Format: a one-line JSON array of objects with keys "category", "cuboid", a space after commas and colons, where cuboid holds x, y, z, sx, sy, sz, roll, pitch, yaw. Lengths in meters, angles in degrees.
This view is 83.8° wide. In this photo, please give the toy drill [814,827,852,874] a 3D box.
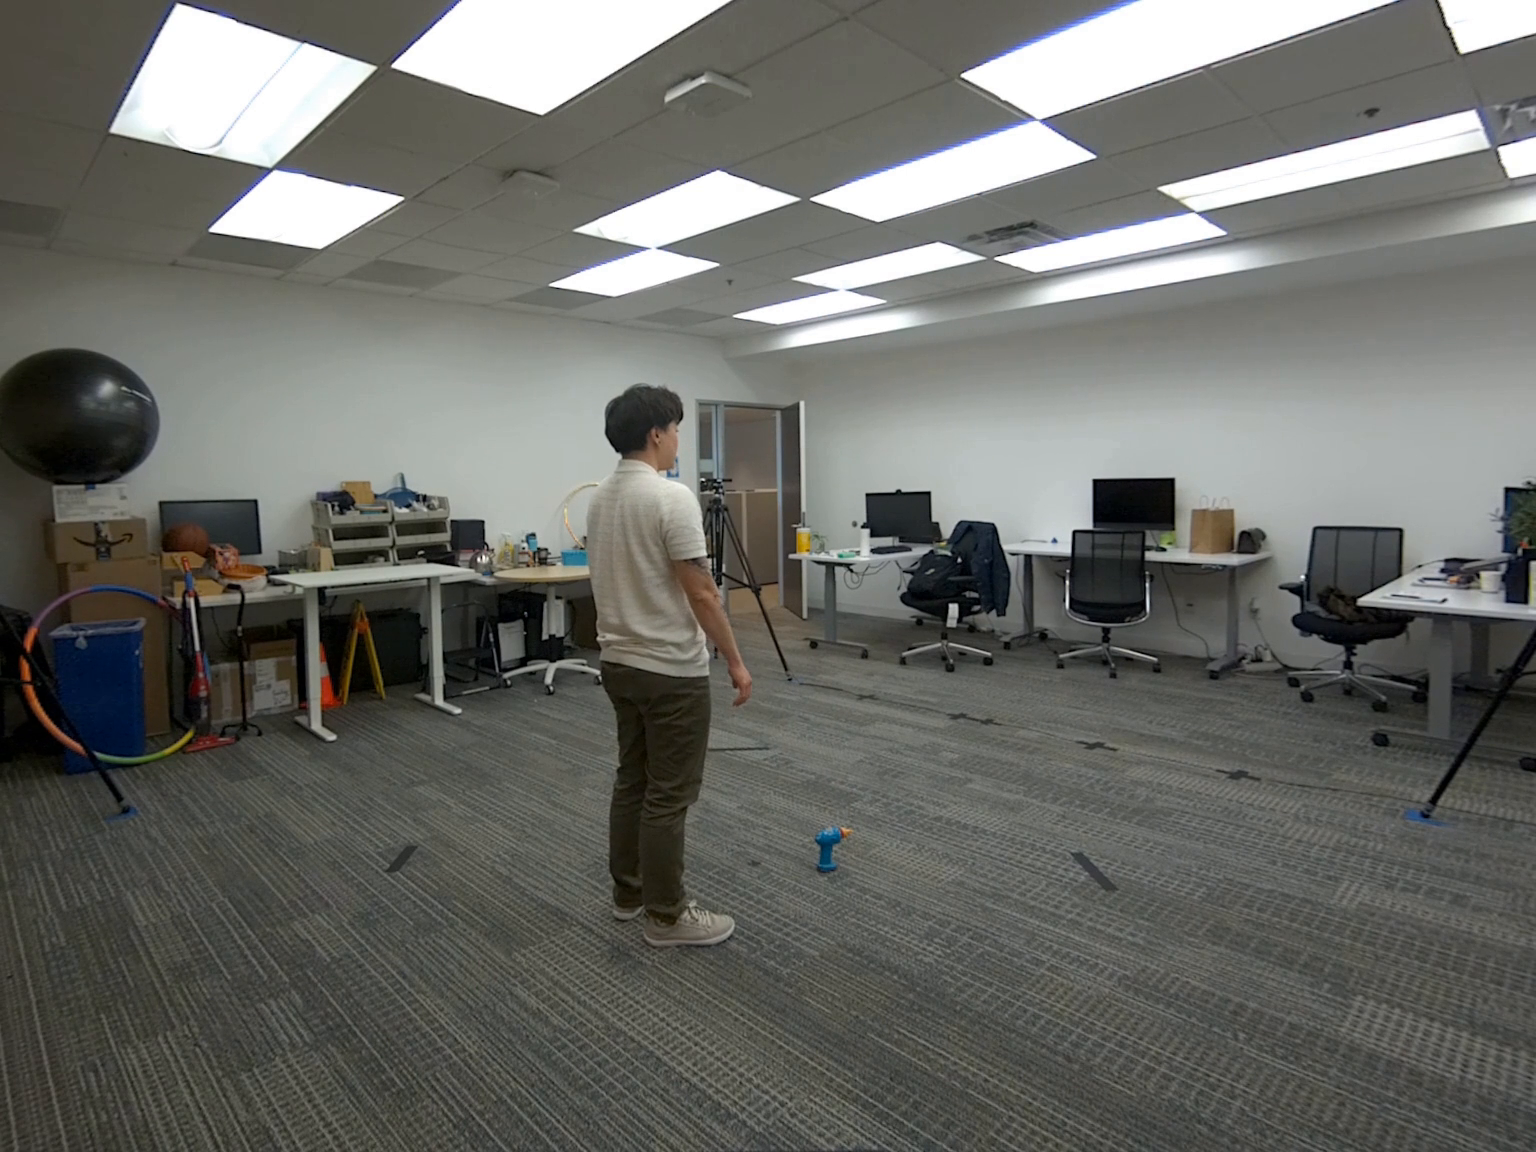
[{"category": "toy drill", "cuboid": [0.243, 0.970, 3.069, 0.165, 0.145, 0.063, -3, 4, -35]}]
